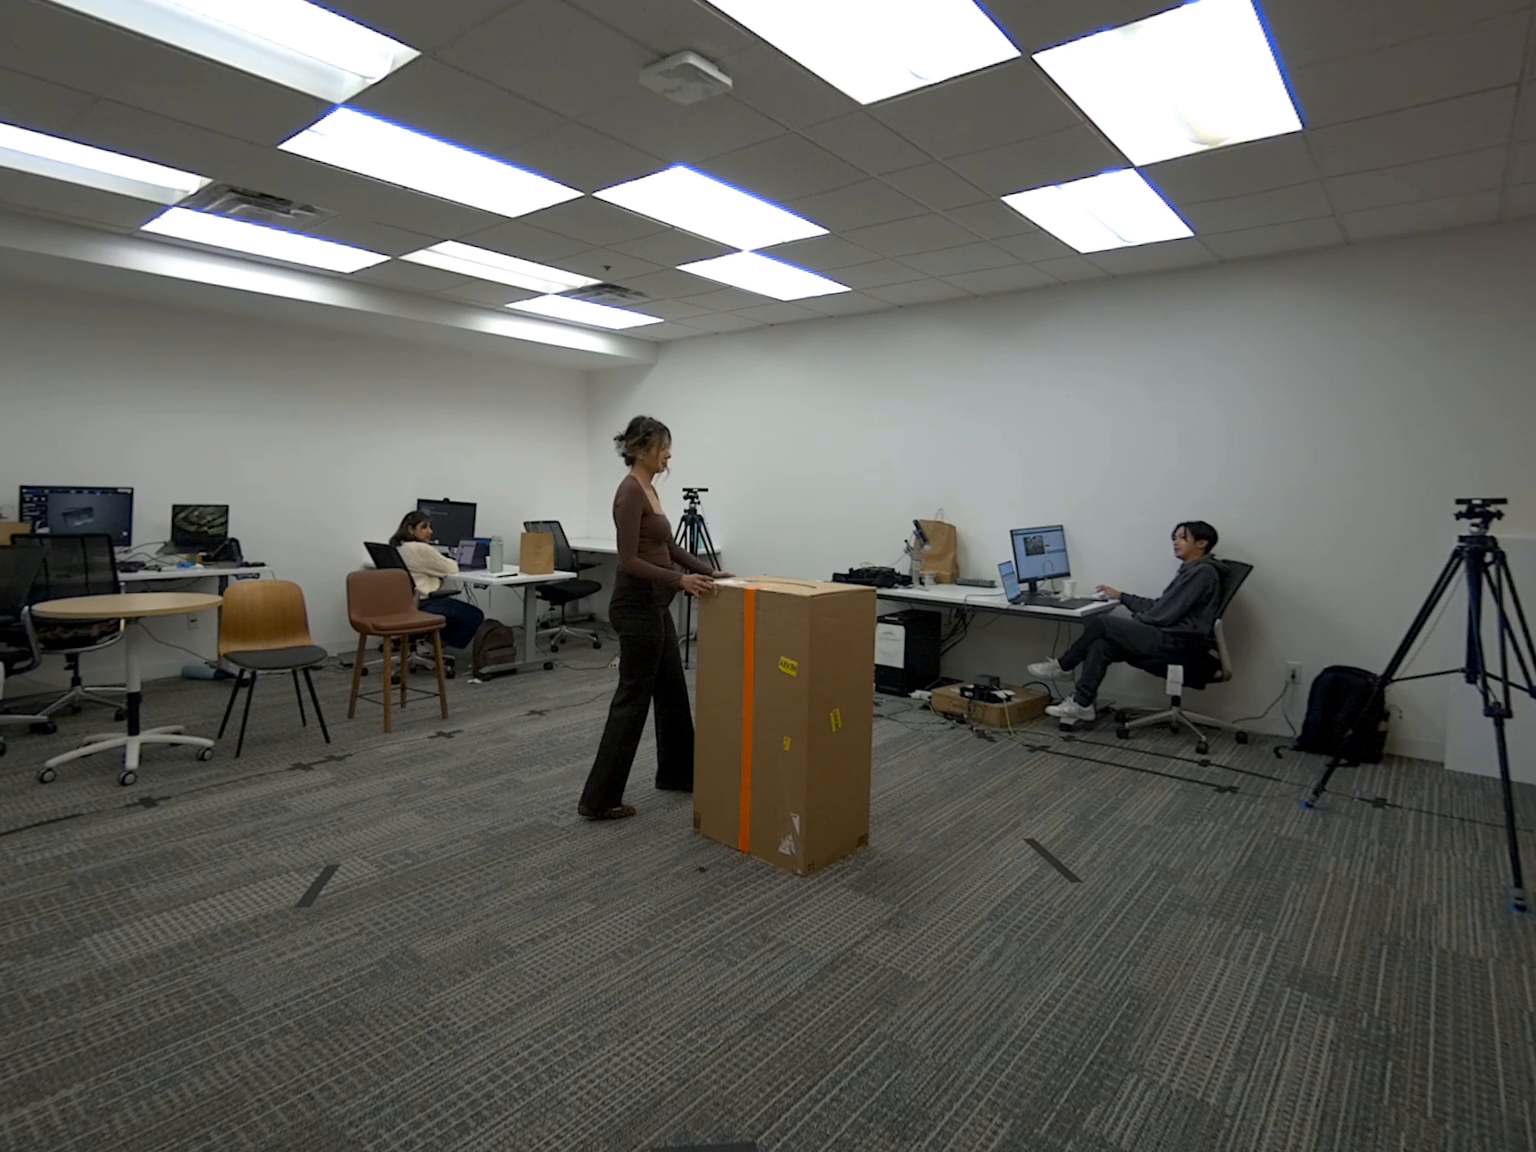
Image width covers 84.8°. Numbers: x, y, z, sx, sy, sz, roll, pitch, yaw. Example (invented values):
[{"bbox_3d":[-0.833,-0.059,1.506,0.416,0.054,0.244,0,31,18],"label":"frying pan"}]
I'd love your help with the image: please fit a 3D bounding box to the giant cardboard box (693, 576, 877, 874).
[{"bbox_3d":[0.050,0.540,3.380,0.604,1.024,0.433,4,5,43],"label":"giant cardboard box"}]
